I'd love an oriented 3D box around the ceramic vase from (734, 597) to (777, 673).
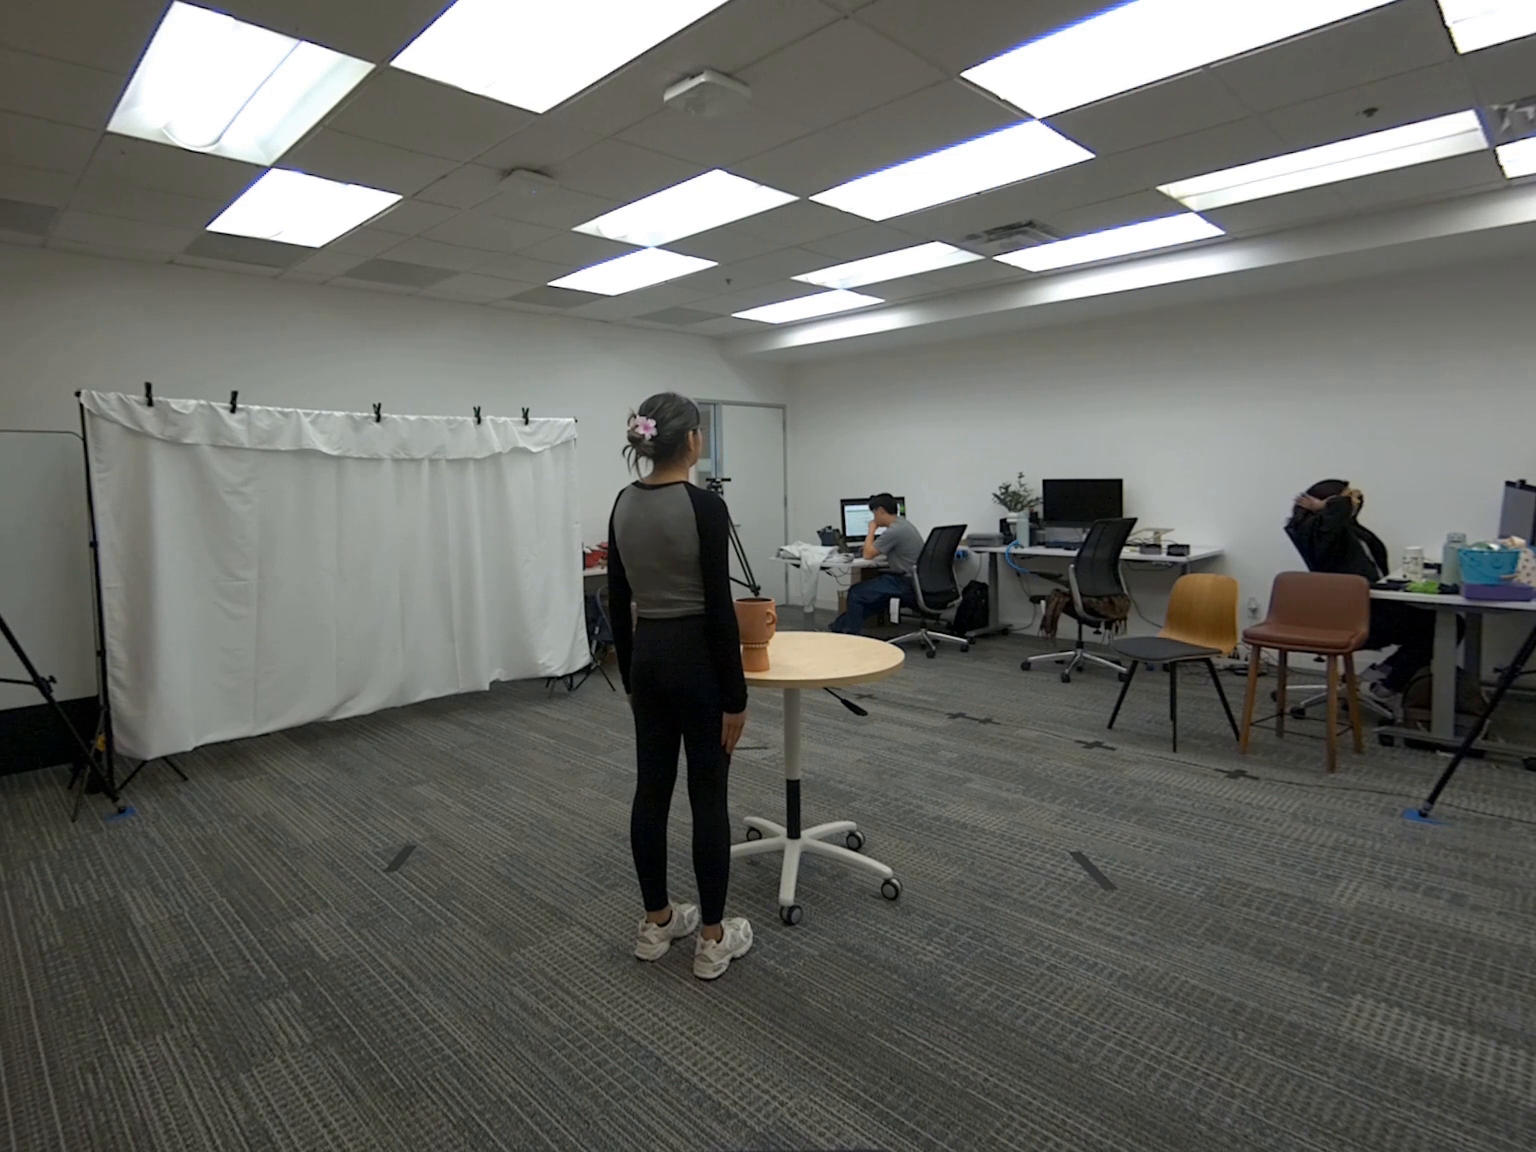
[{"bbox_3d":[-0.040,0.188,2.709,0.134,0.219,0.160,-1,5,-3],"label":"ceramic vase"}]
